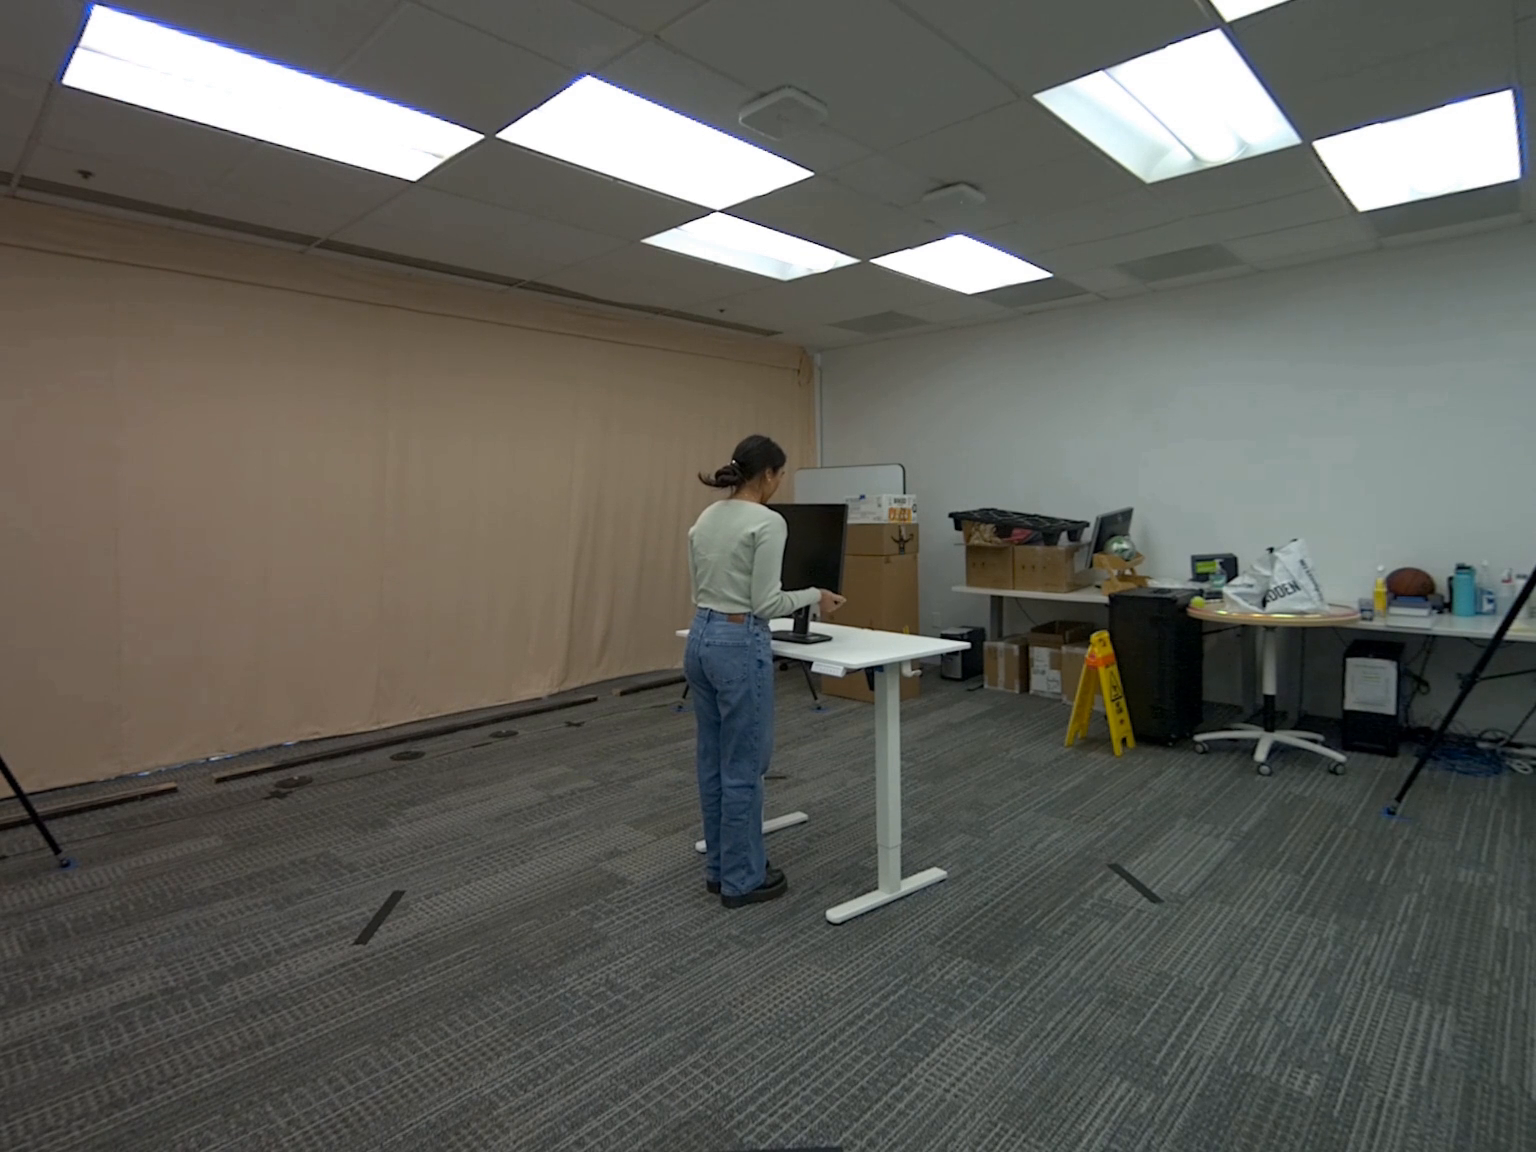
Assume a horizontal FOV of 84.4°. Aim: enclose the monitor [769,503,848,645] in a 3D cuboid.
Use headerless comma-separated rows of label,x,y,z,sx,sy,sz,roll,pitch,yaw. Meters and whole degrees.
monitor,0.105,-0.010,3.181,0.181,0.521,0.557,-5,5,-42
